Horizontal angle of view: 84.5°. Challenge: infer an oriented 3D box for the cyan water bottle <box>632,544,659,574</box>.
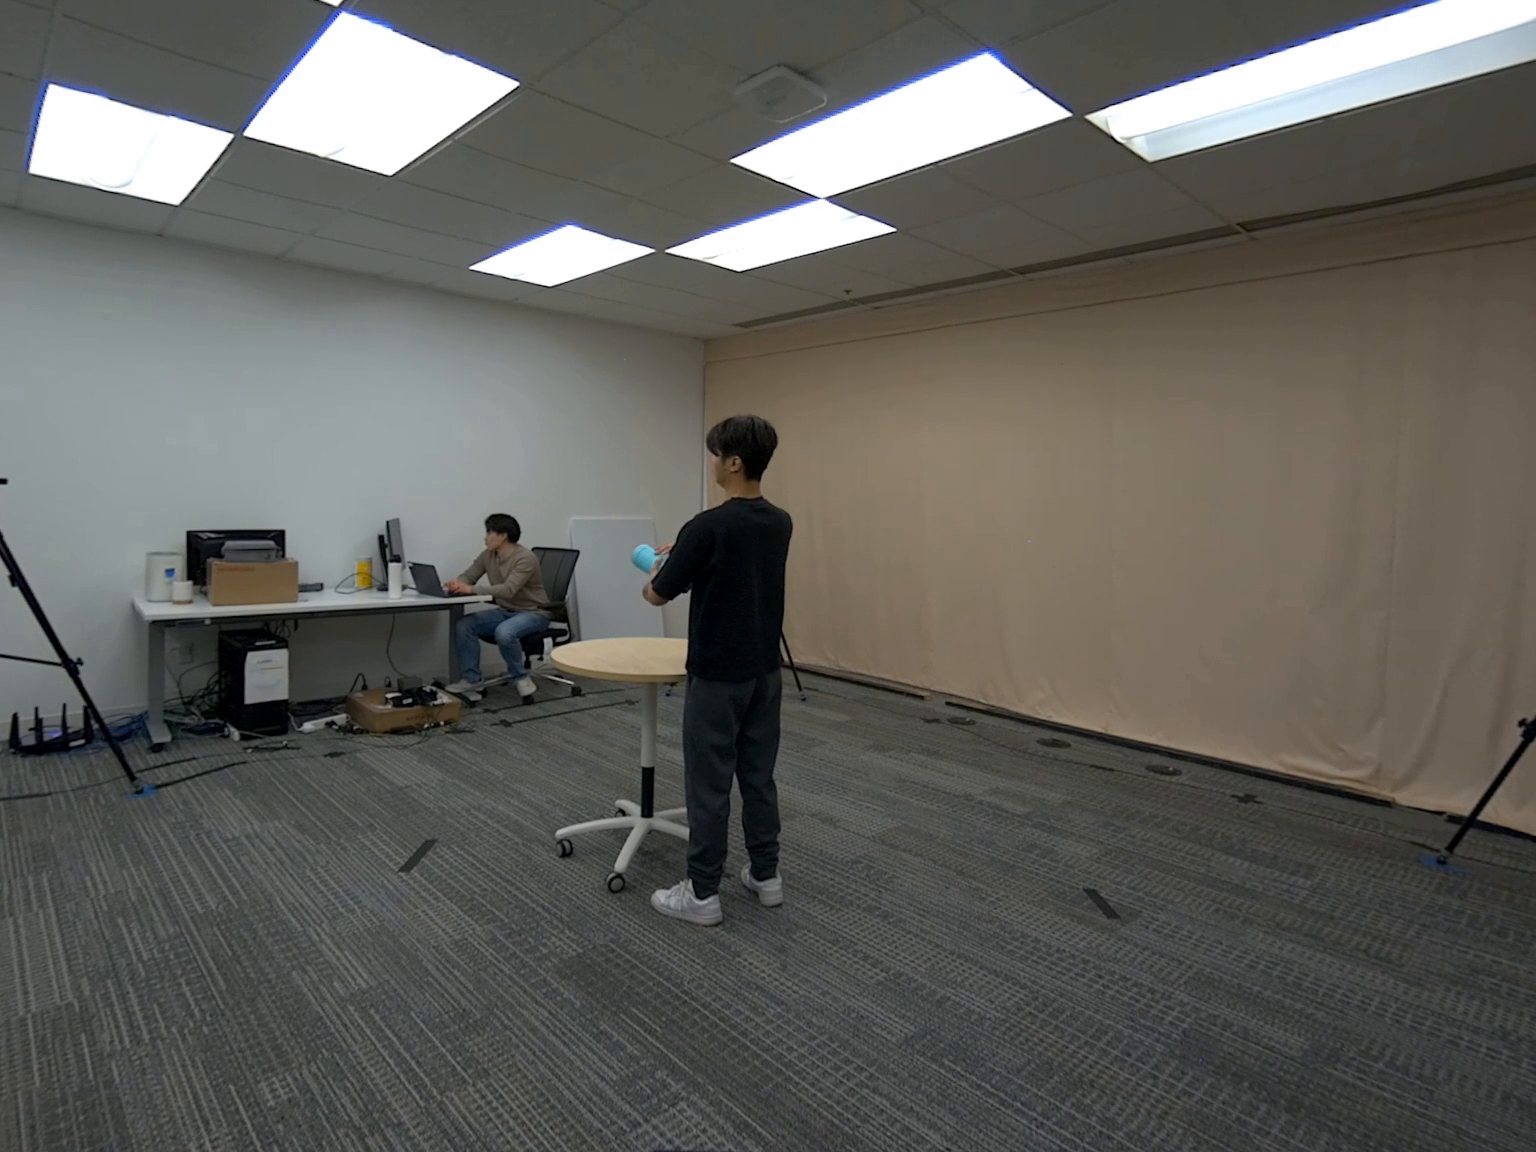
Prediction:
[{"bbox_3d":[-0.377,-0.022,3.026,0.090,0.091,0.292,-3,26,-46],"label":"cyan water bottle"}]
